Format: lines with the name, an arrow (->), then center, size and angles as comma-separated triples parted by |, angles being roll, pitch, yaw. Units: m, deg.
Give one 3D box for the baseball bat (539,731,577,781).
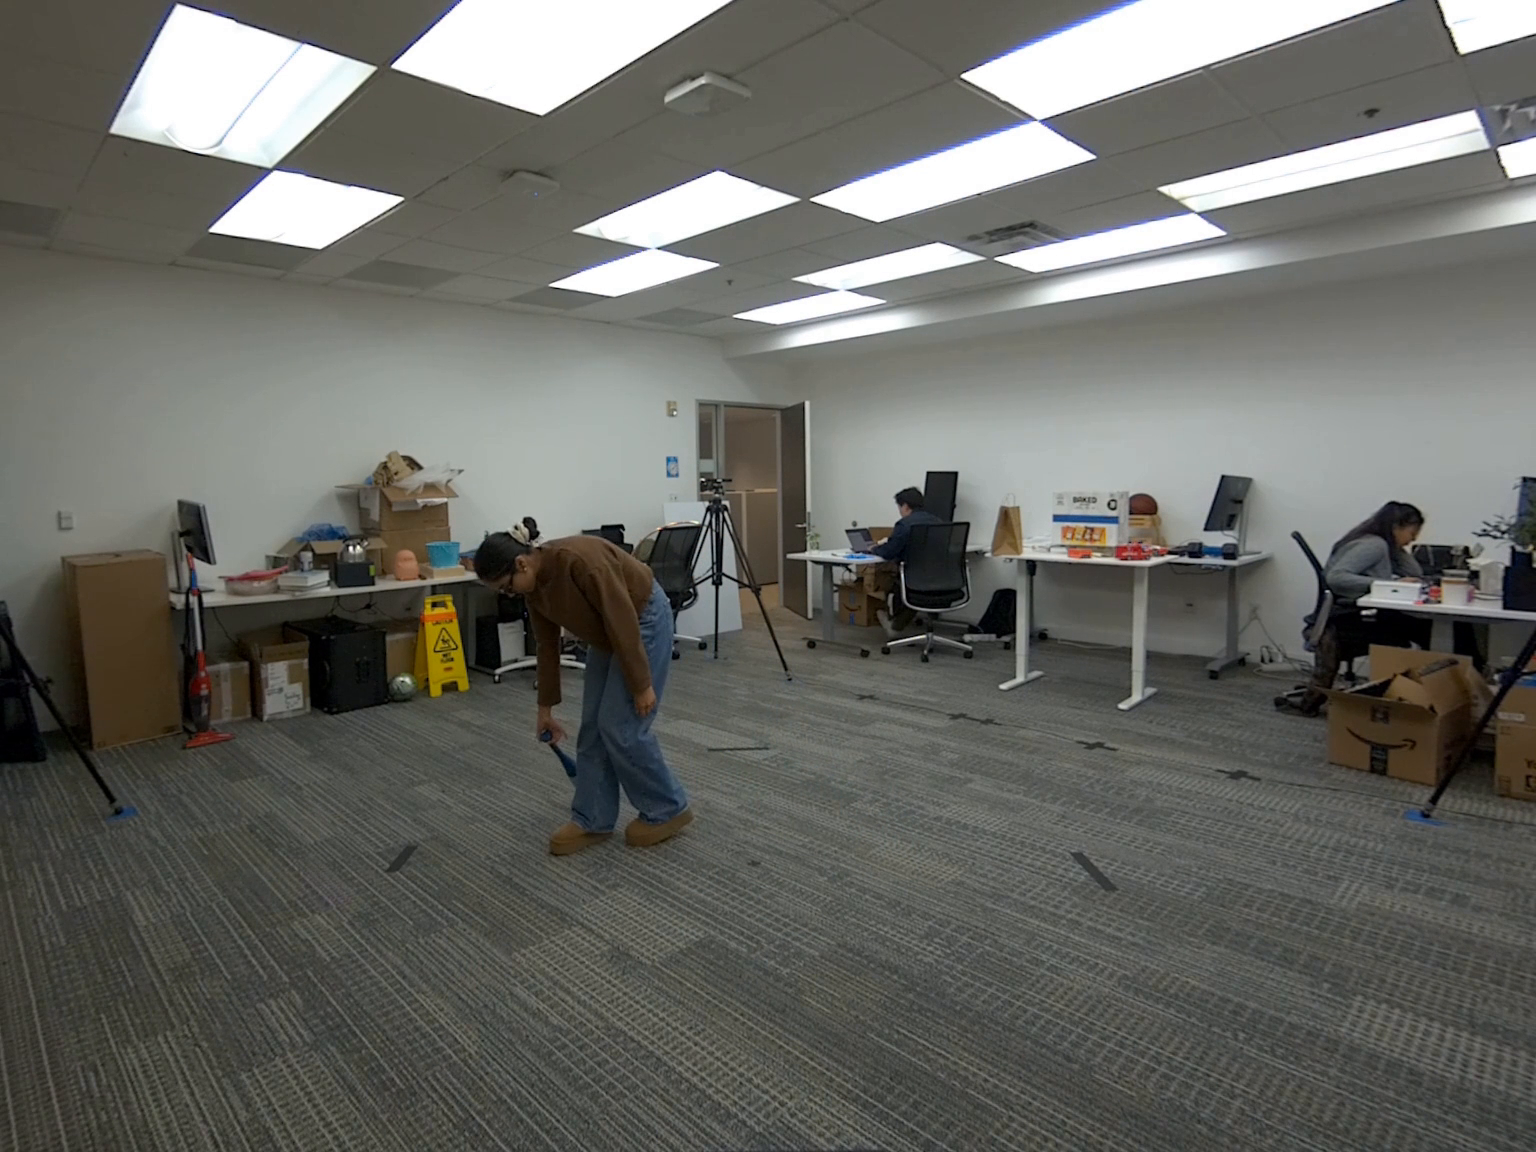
baseball bat -> -0.818, 0.801, 3.557 | 0.091, 0.090, 0.523 | 1, -38, 22
